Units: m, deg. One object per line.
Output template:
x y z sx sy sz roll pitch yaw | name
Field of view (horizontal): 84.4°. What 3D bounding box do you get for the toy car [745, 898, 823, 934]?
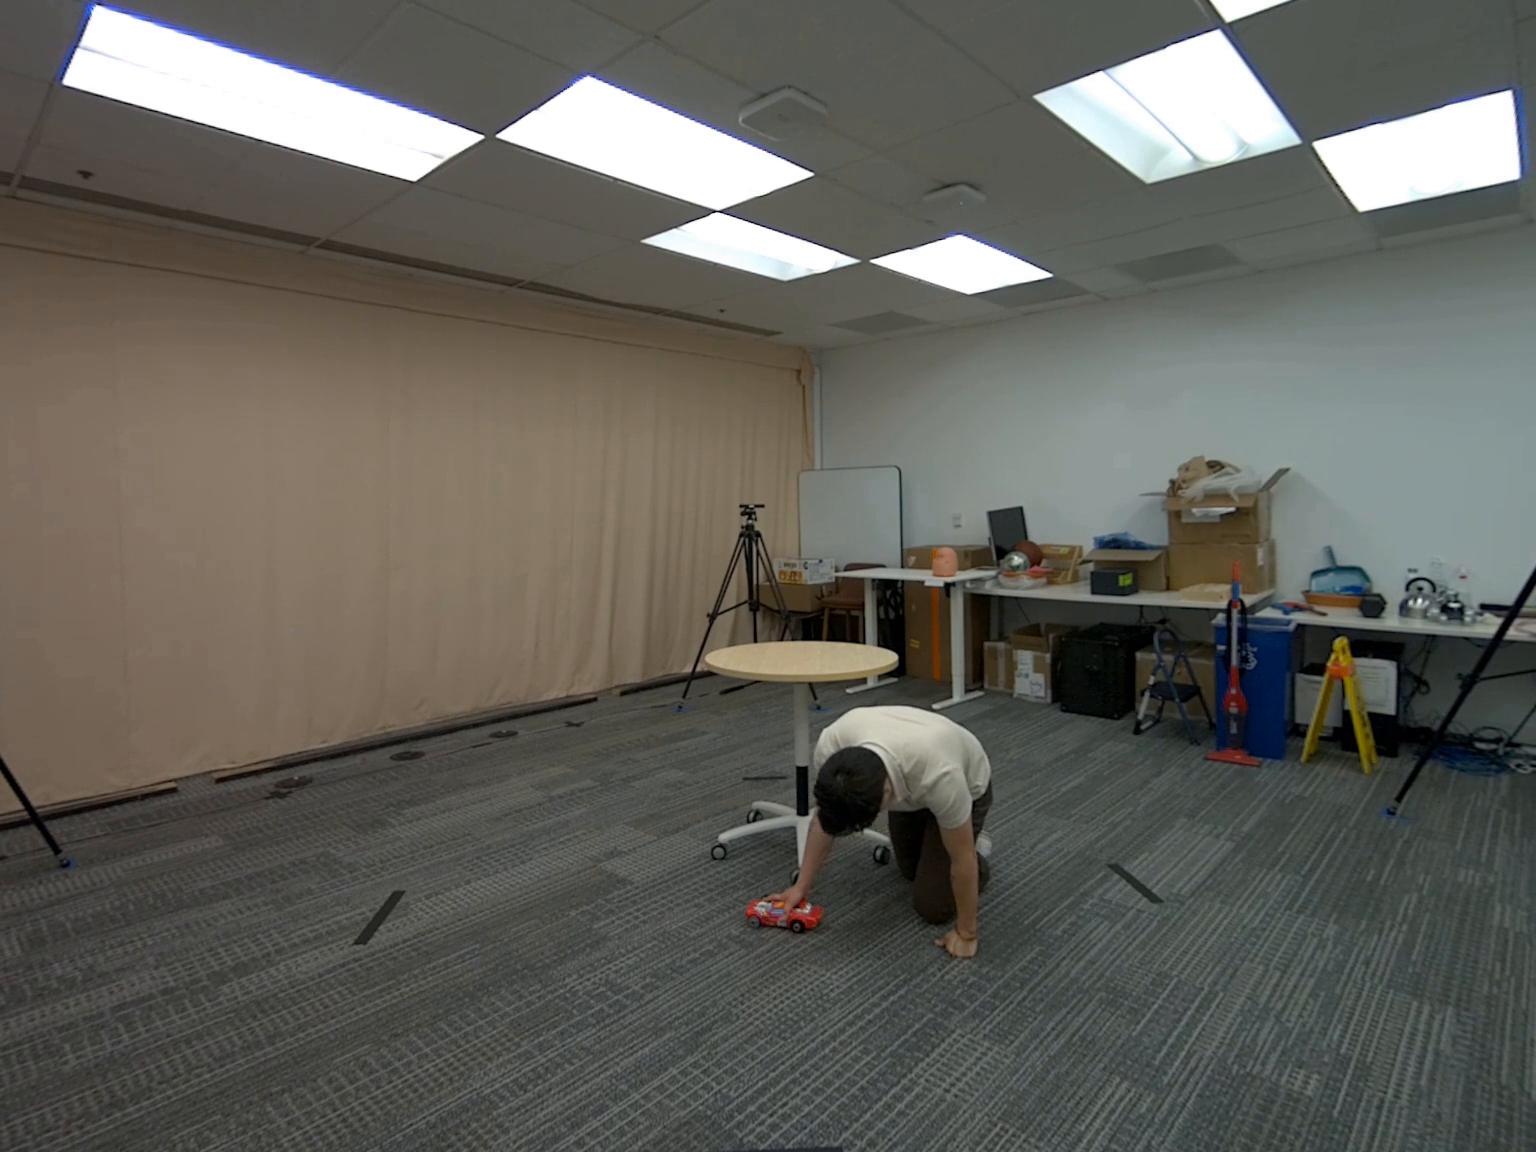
0.063 1.131 2.792 0.259 0.083 0.128 -9 2 17 | toy car
